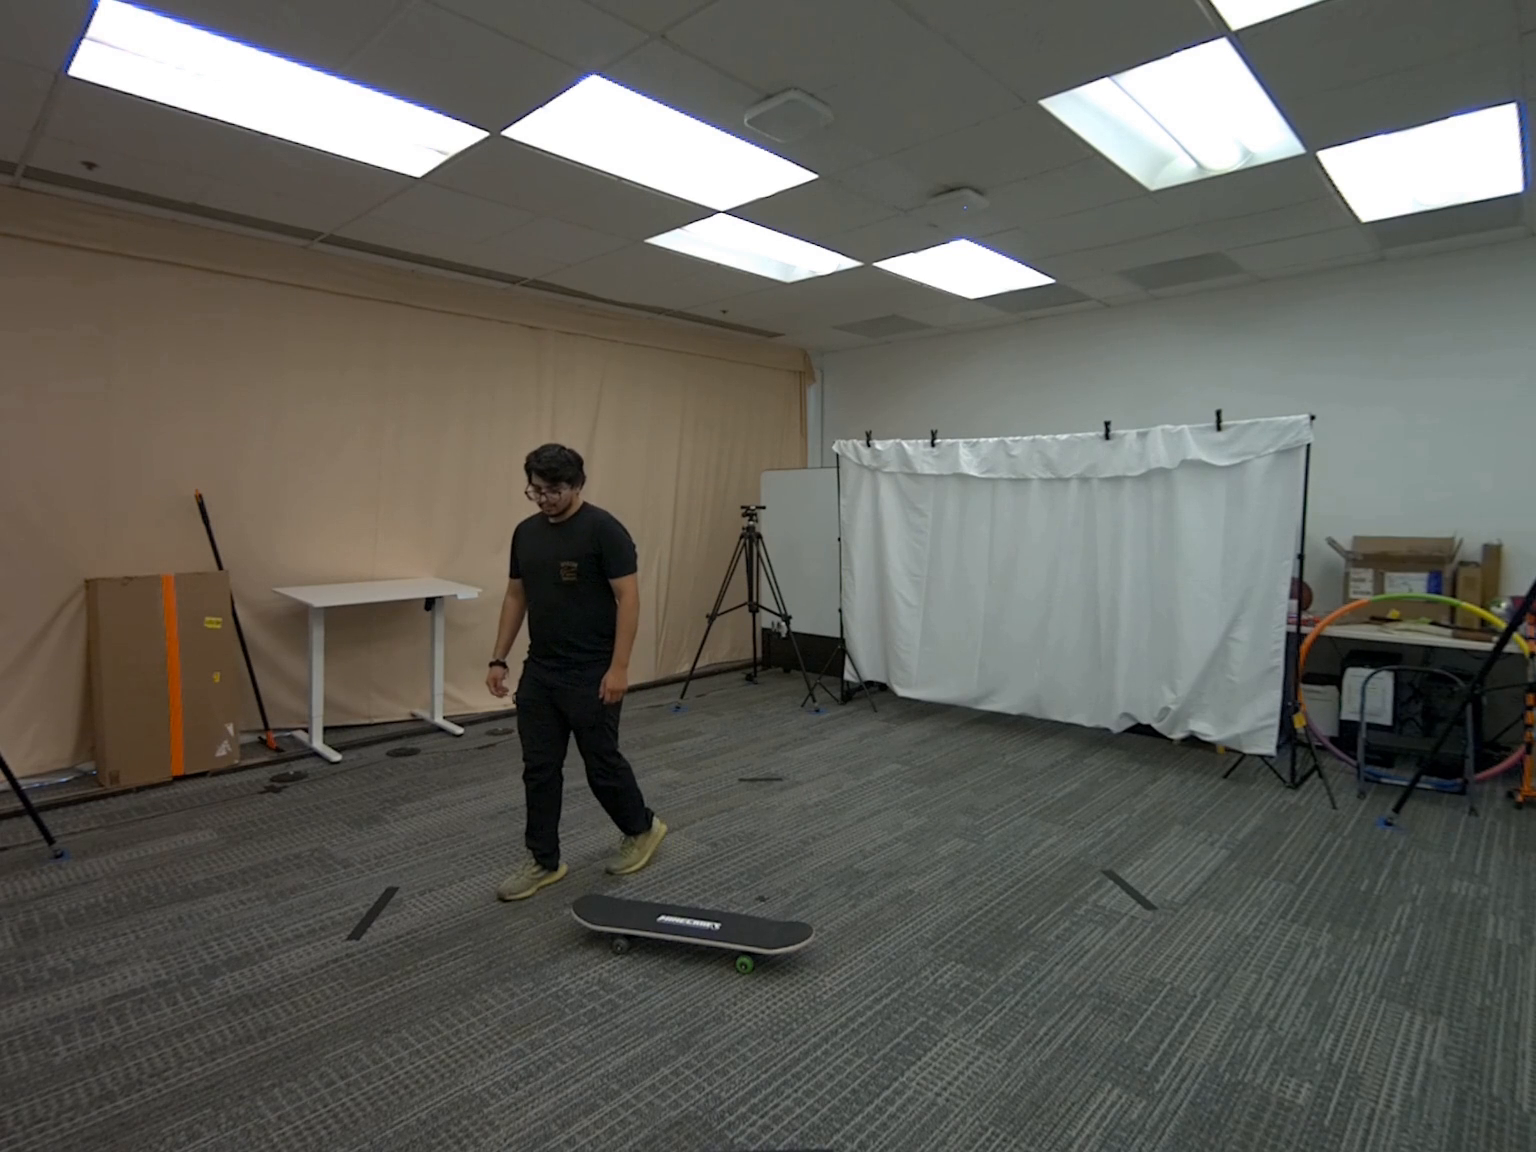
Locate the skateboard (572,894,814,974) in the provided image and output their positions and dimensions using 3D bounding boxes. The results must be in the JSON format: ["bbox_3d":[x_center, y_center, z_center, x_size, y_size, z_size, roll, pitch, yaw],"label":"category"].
[{"bbox_3d":[-0.241,1.114,2.637,0.798,0.110,0.191,0,4,15],"label":"skateboard"}]
